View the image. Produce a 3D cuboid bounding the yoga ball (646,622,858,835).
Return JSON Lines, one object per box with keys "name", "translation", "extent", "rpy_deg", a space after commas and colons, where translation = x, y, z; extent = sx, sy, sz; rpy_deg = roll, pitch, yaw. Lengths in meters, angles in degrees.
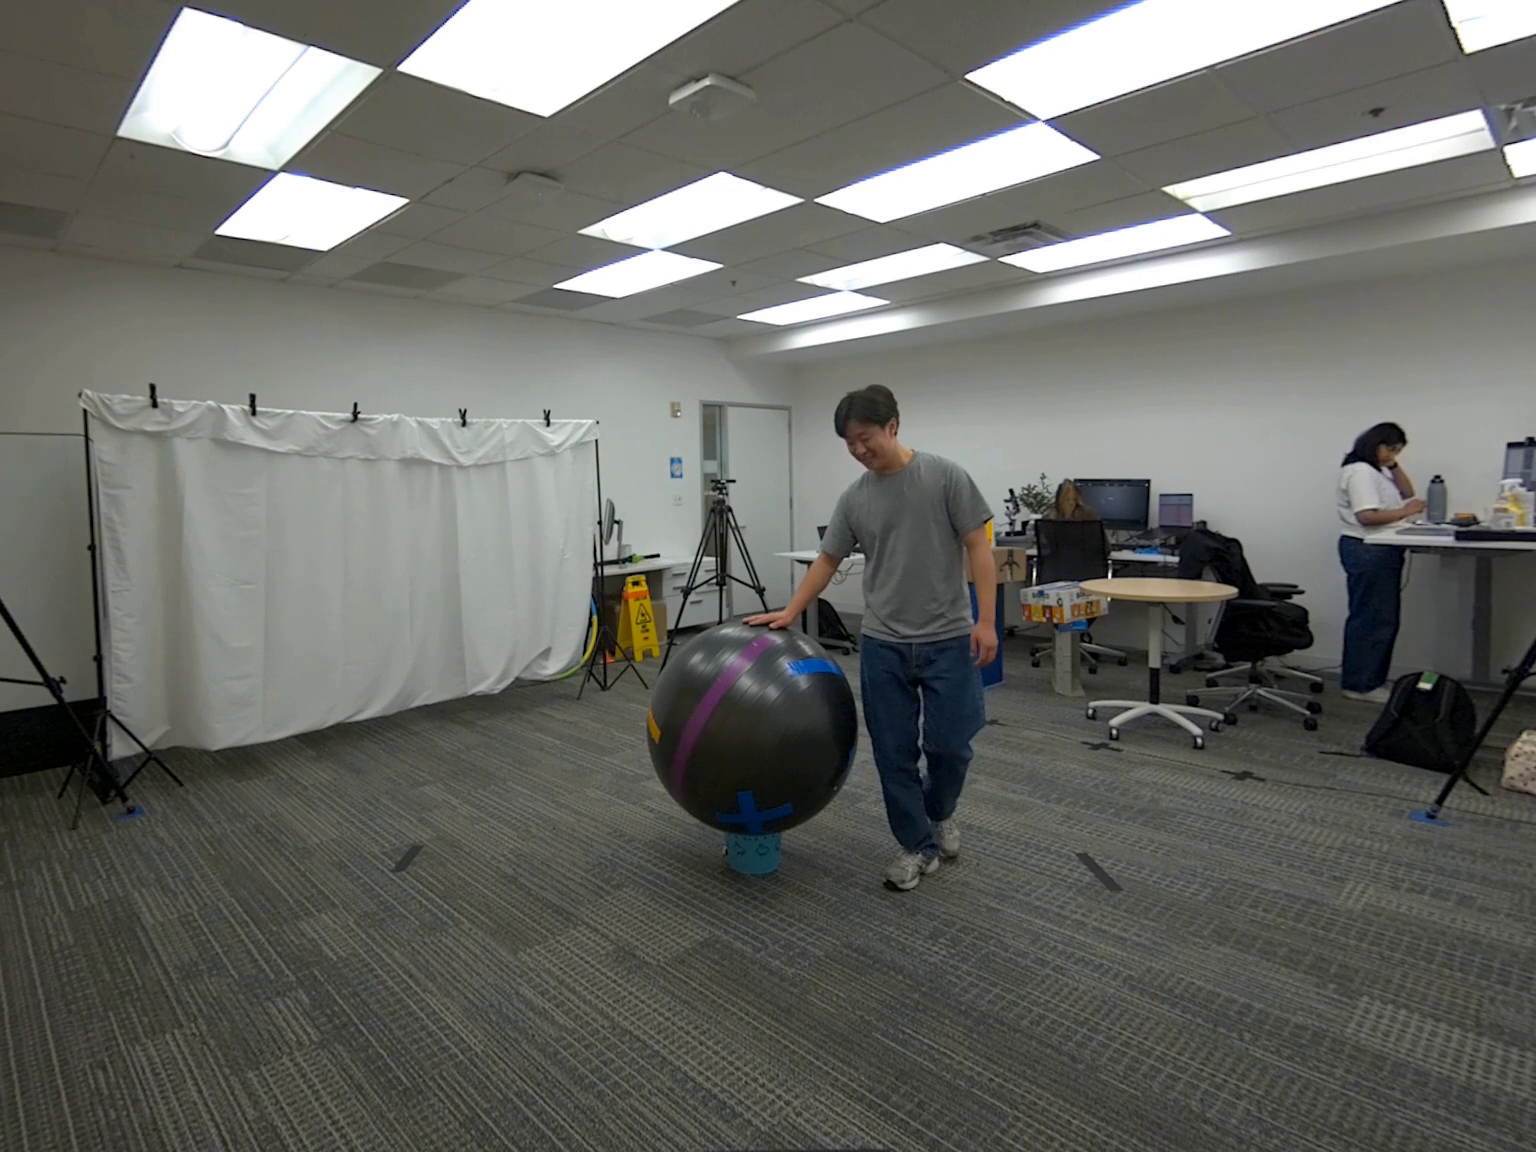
{"name": "yoga ball", "translation": [-0.057, 0.540, 3.084], "extent": [0.757, 0.755, 0.762], "rpy_deg": [-1, 5, -2]}
